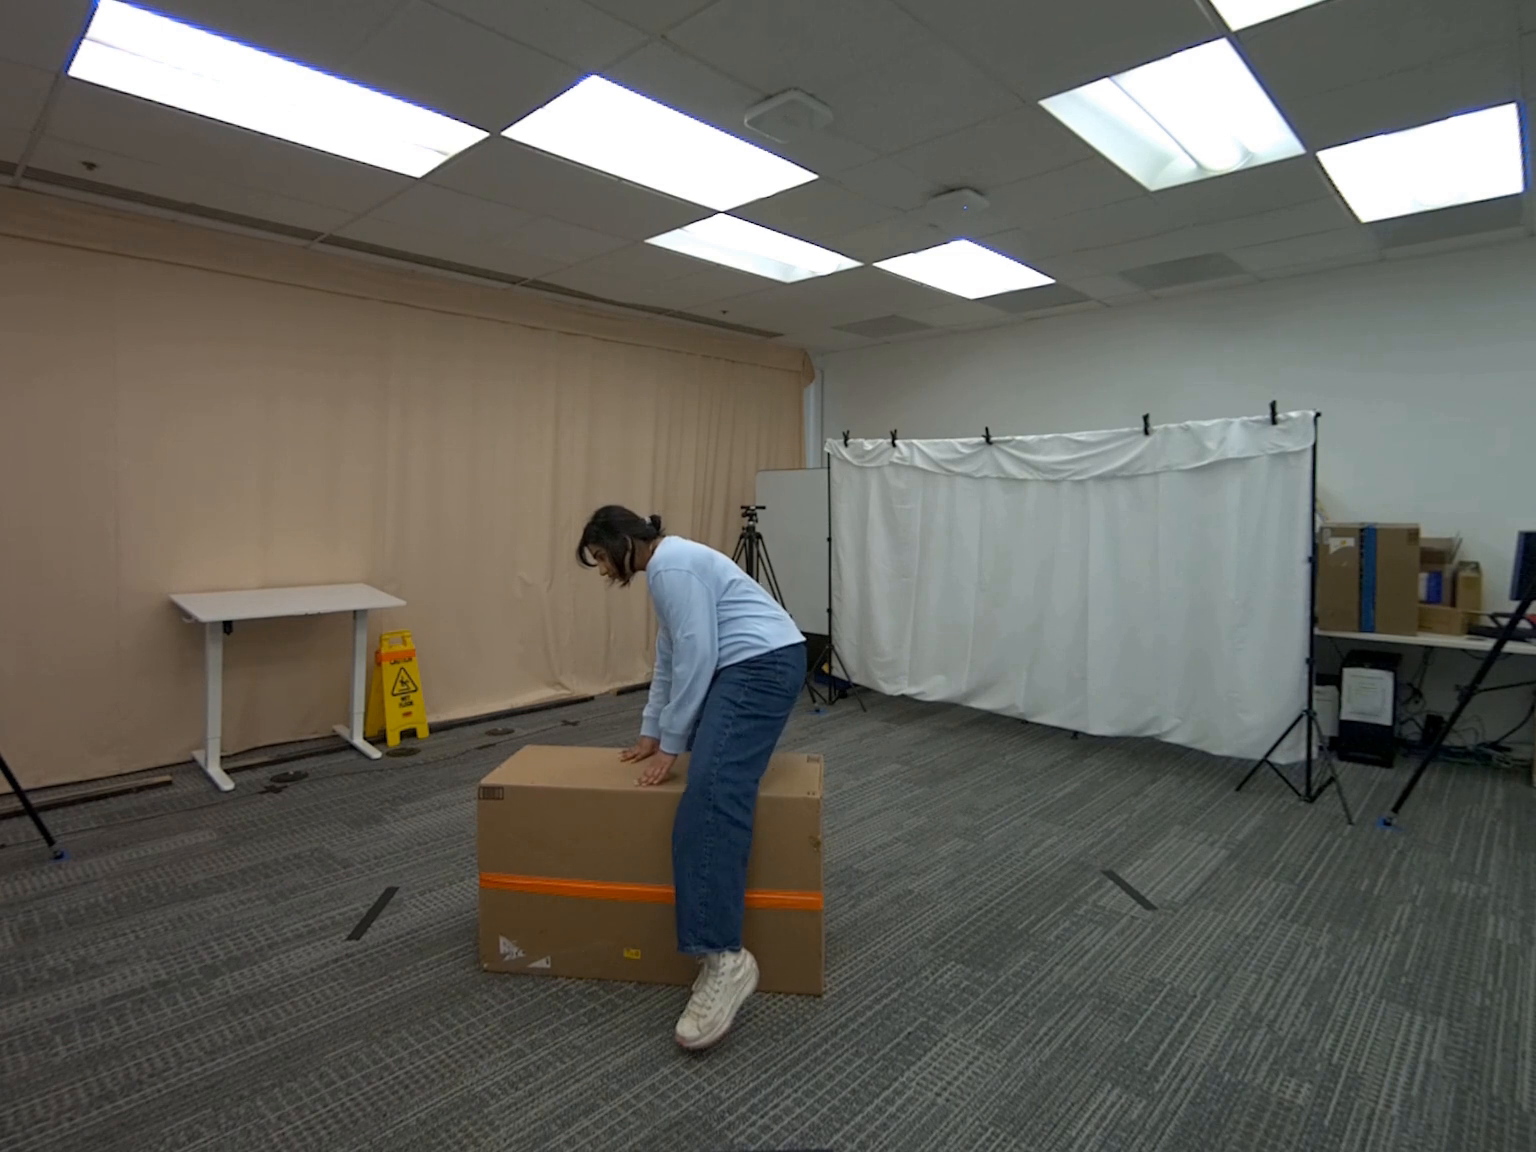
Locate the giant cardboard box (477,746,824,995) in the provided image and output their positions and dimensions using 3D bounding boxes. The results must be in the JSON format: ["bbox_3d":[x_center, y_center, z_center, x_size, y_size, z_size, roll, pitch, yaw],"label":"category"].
[{"bbox_3d":[-0.342,0.891,2.646,1.034,0.576,0.424,0,4,7],"label":"giant cardboard box"}]
